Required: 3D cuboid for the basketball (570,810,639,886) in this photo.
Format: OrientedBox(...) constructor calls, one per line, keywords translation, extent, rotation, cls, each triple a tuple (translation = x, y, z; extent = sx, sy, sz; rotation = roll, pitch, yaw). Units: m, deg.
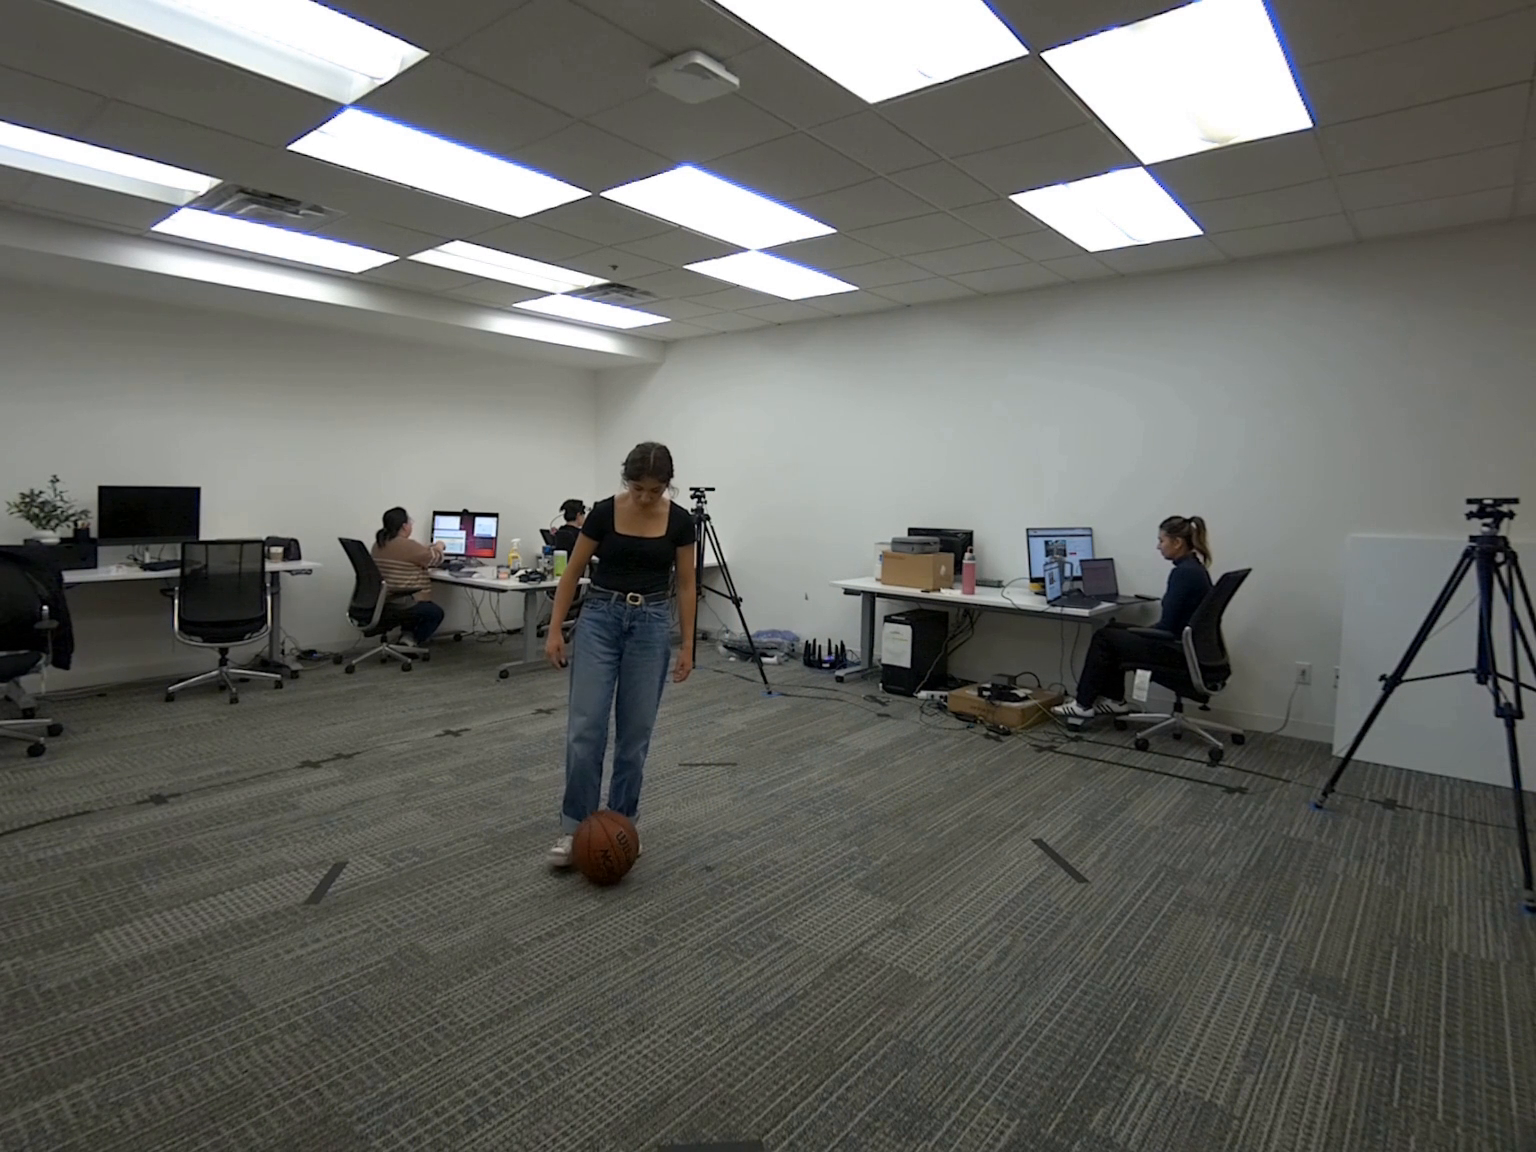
OrientedBox(translation=(-0.585, 0.946, 3.004), extent=(0.235, 0.235, 0.237), rotation=(1, 4, -2), cls="basketball")
